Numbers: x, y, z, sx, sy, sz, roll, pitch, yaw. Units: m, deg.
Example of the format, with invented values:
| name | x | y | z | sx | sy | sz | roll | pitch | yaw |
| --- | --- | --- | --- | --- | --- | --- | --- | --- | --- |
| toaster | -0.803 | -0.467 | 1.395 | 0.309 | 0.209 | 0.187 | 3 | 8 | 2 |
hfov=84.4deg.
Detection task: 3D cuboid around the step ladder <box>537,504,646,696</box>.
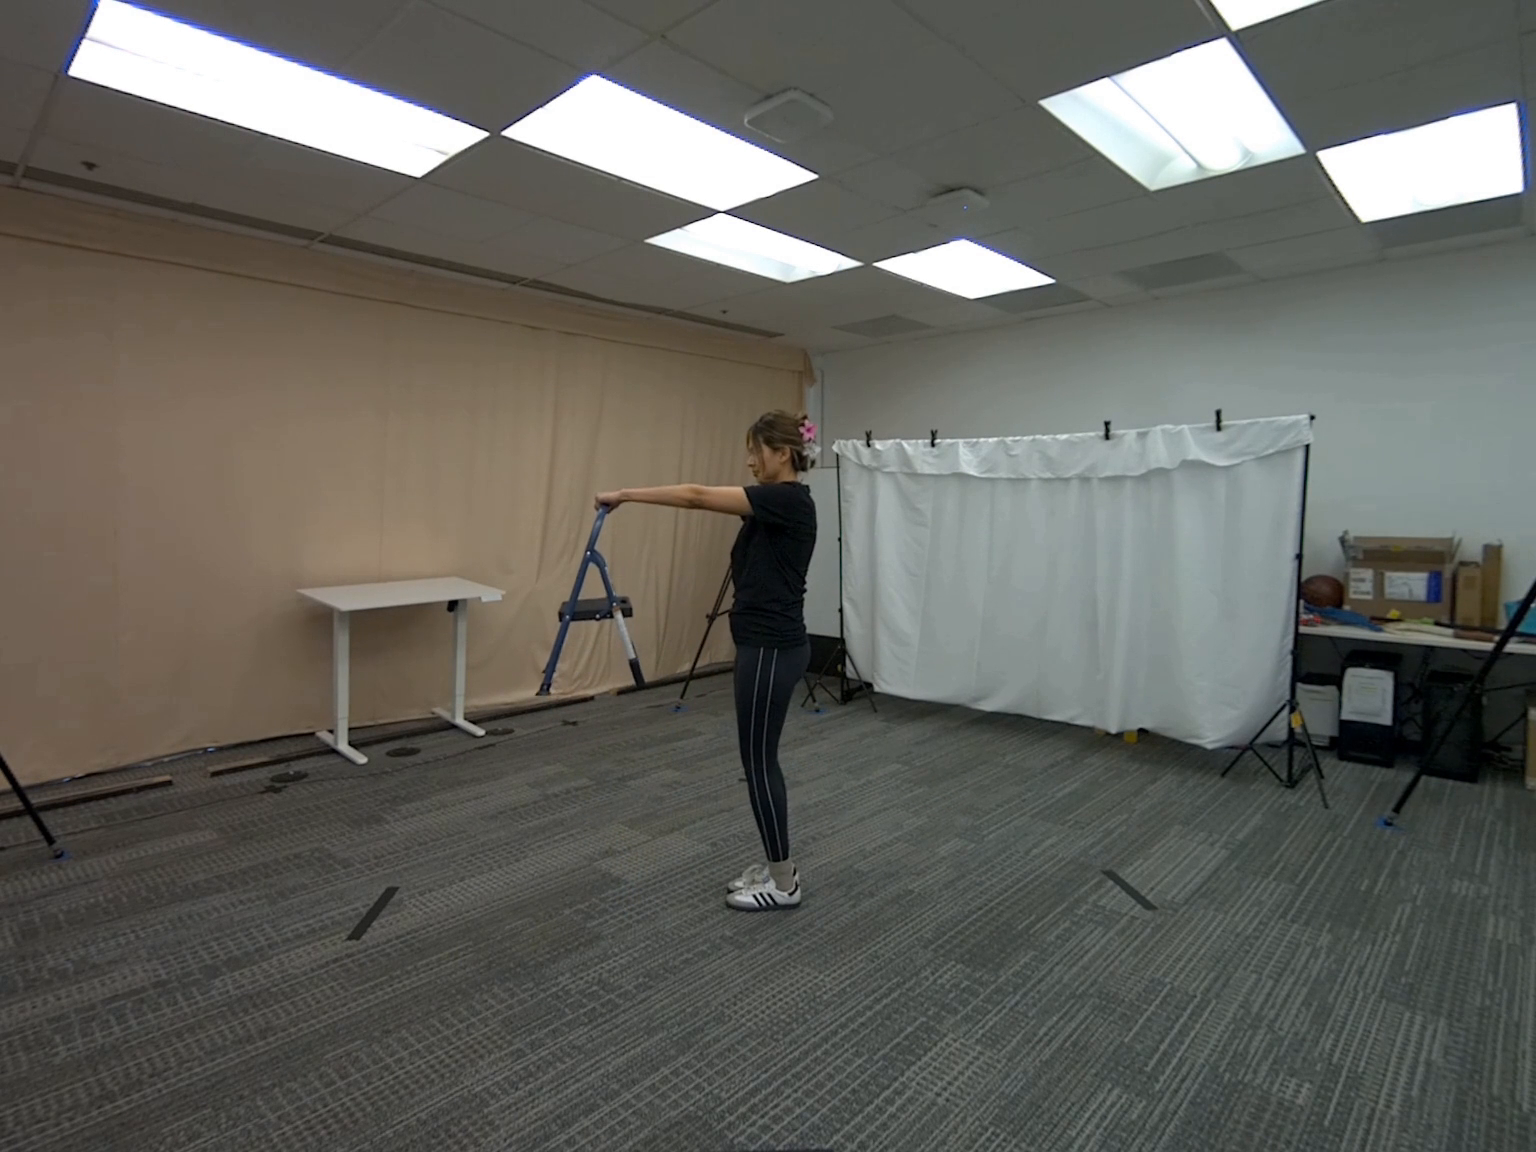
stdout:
| name | x | y | z | sx | sy | sz | roll | pitch | yaw |
| --- | --- | --- | --- | --- | --- | --- | --- | --- | --- |
| step ladder | -0.615 | 0.067 | 2.890 | 0.345 | 0.605 | 0.436 | -3 | 2 | -11 |
